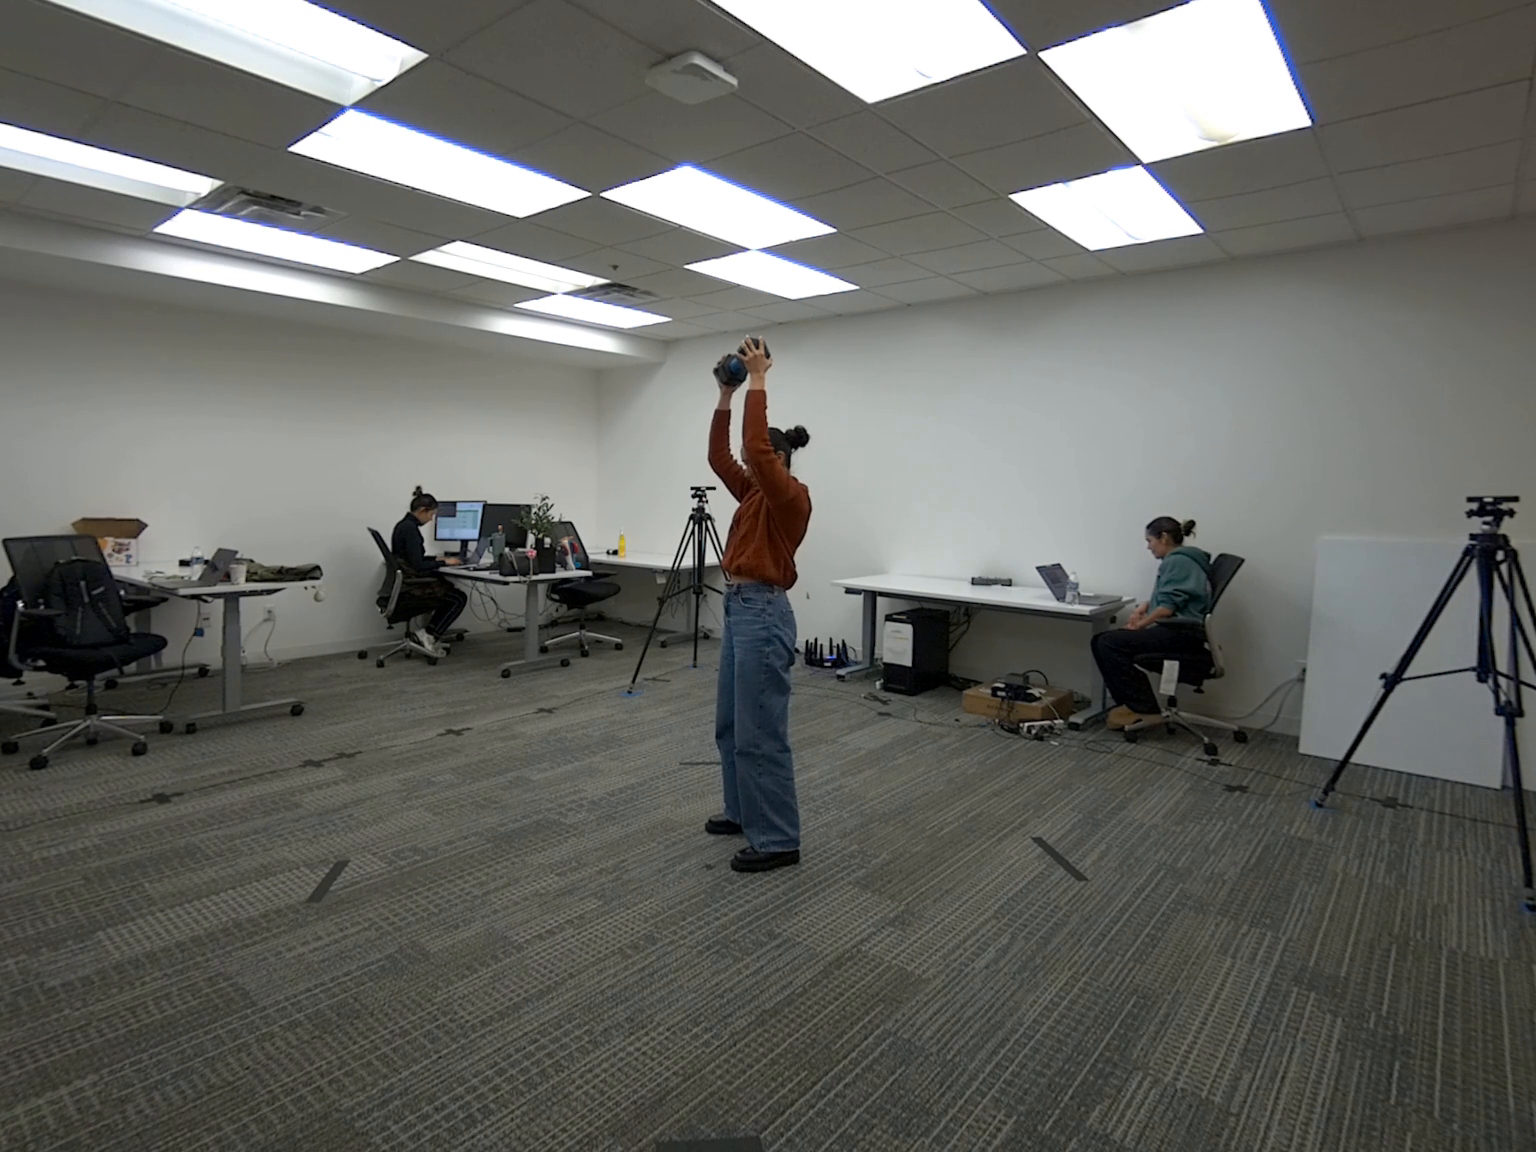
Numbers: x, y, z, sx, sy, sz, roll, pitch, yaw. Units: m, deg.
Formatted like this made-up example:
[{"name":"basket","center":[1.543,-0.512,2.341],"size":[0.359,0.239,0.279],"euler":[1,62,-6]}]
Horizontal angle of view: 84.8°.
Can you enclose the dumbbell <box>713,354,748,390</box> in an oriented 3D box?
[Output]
[{"name":"dumbbell","center":[-0.115,-0.808,3.232],"size":[0.106,0.123,0.299],"euler":[39,-15,-17]}]
